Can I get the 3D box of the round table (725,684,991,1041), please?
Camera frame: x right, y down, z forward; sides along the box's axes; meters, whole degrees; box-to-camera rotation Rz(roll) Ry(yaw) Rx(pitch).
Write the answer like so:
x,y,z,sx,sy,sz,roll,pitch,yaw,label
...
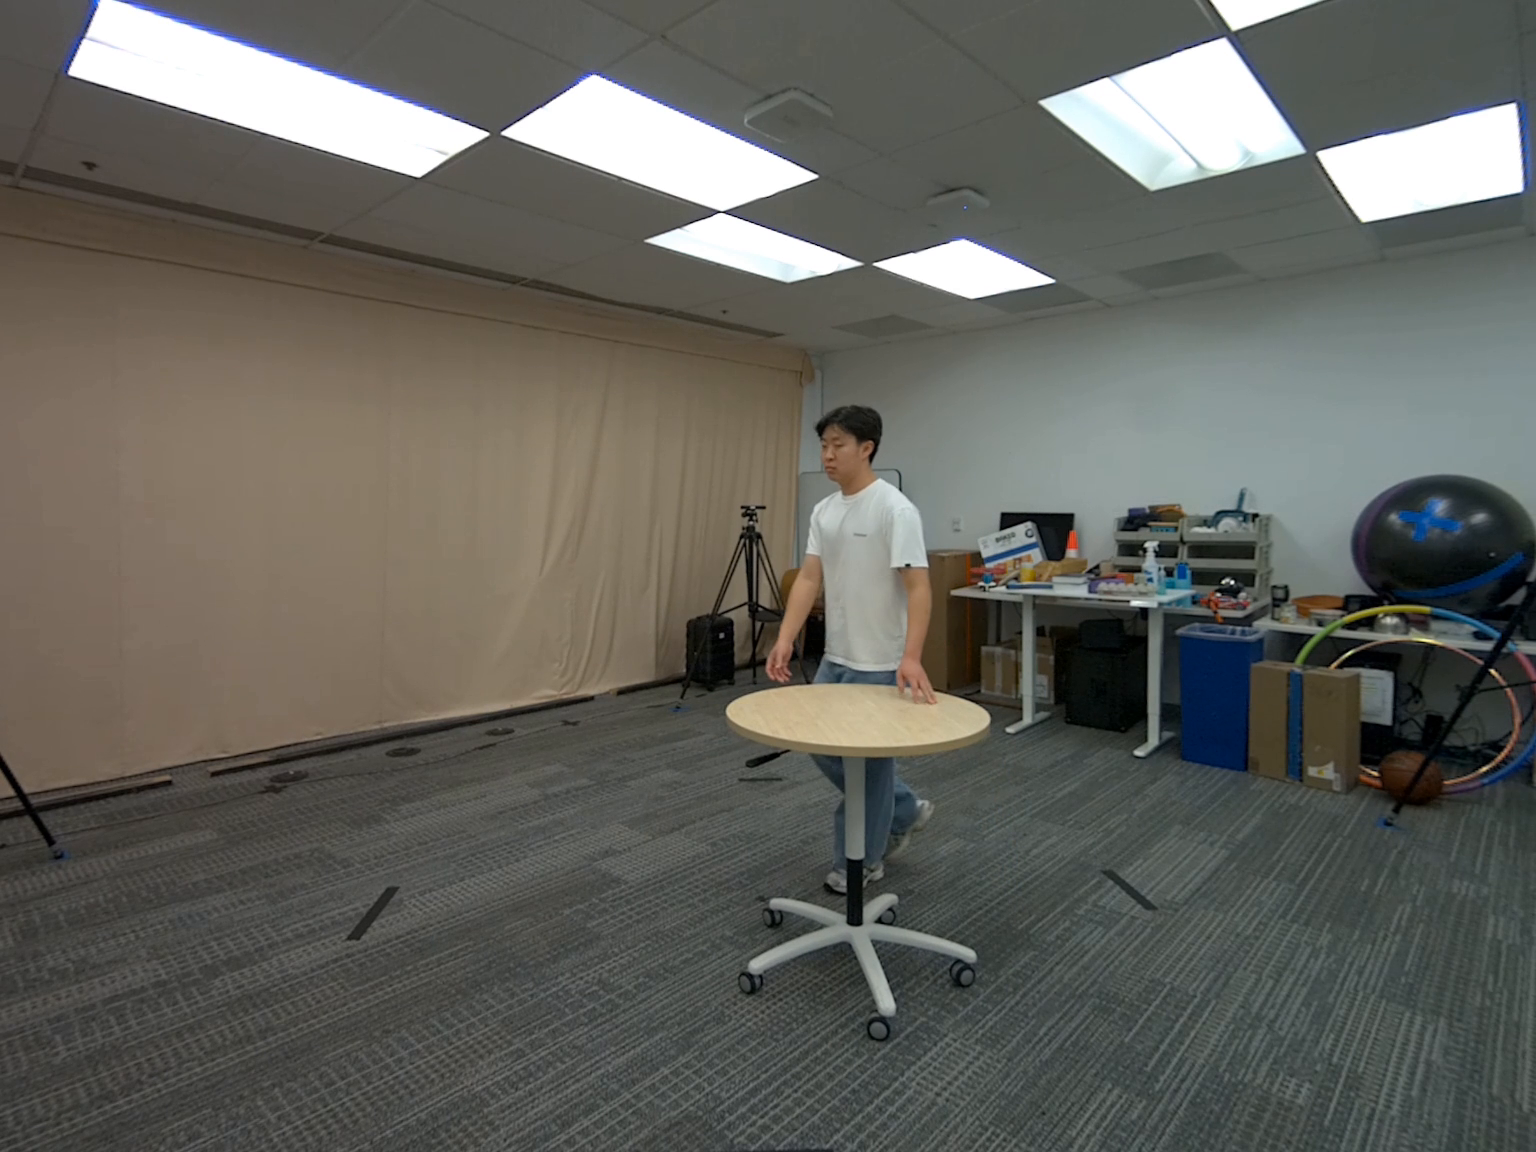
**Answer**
x,y,z,sx,sy,sz,roll,pitch,yaw,label
0.253,0.790,2.523,0.763,0.792,0.767,0,4,-2,round table
